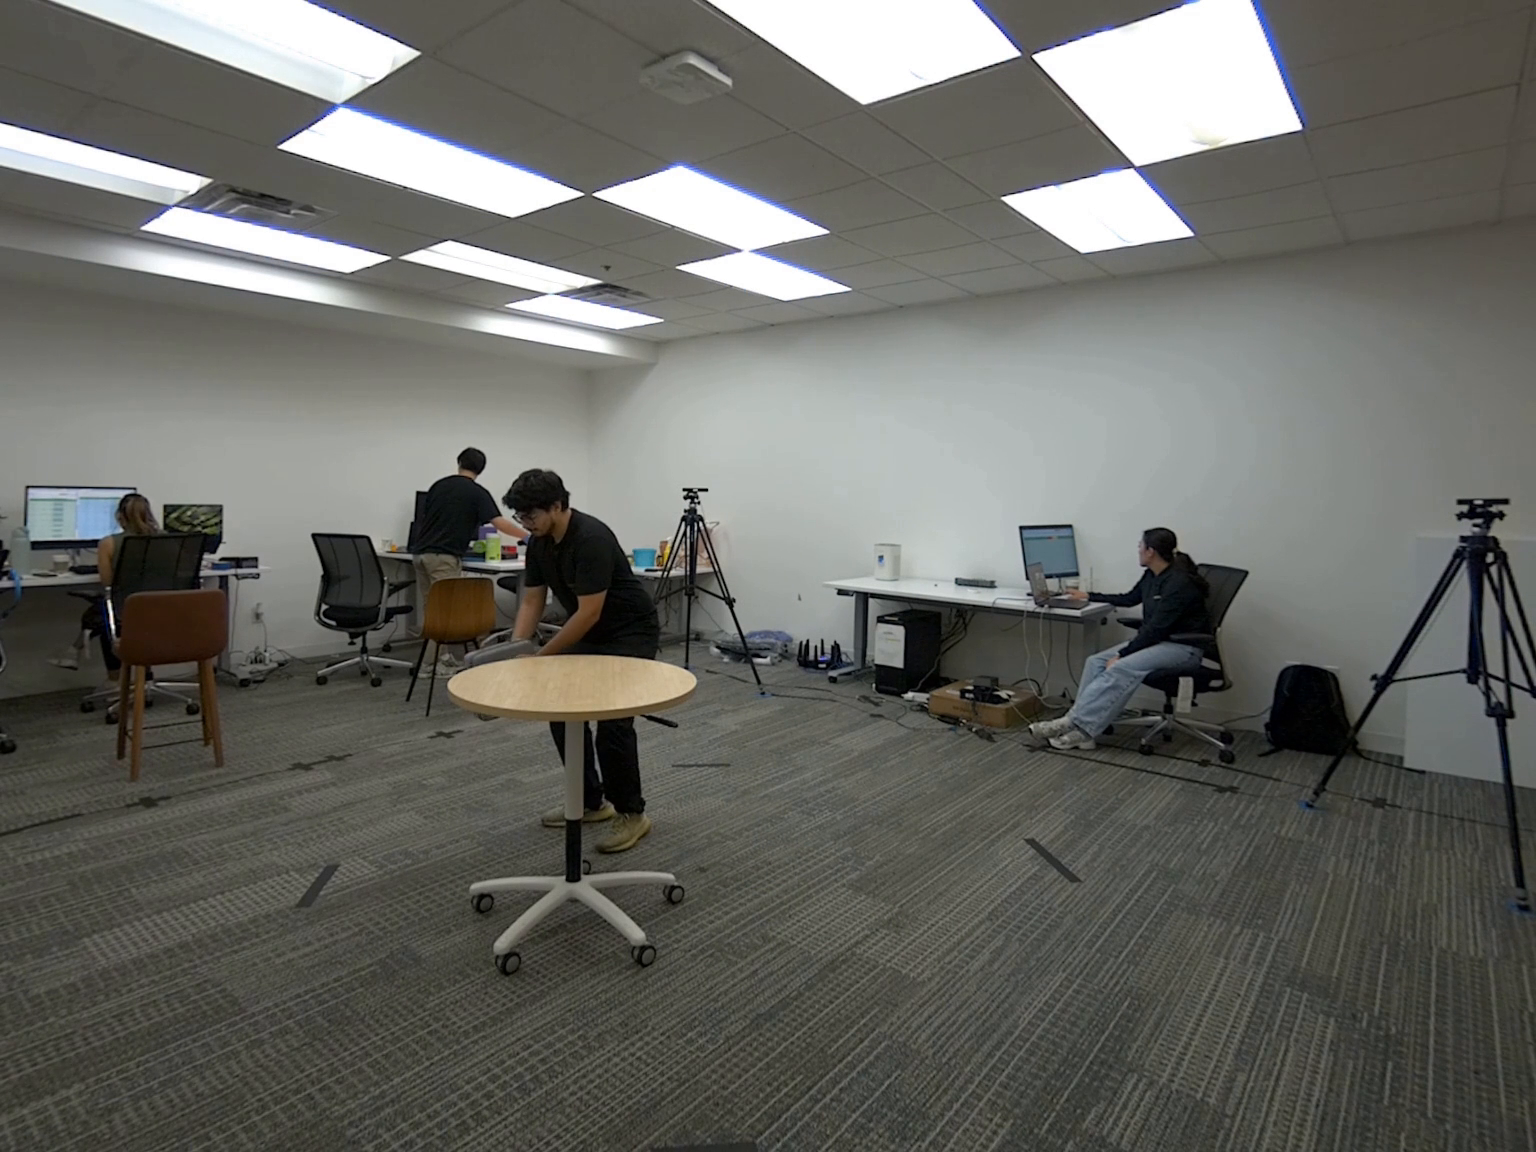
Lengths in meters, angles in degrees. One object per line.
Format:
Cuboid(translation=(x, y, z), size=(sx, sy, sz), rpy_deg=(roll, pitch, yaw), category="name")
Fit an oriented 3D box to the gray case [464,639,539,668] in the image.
Cuboid(translation=(-0.998, 0.377, 3.145), size=(0.251, 0.259, 0.107), rpy_deg=(-14, 9, -43), category="gray case")
